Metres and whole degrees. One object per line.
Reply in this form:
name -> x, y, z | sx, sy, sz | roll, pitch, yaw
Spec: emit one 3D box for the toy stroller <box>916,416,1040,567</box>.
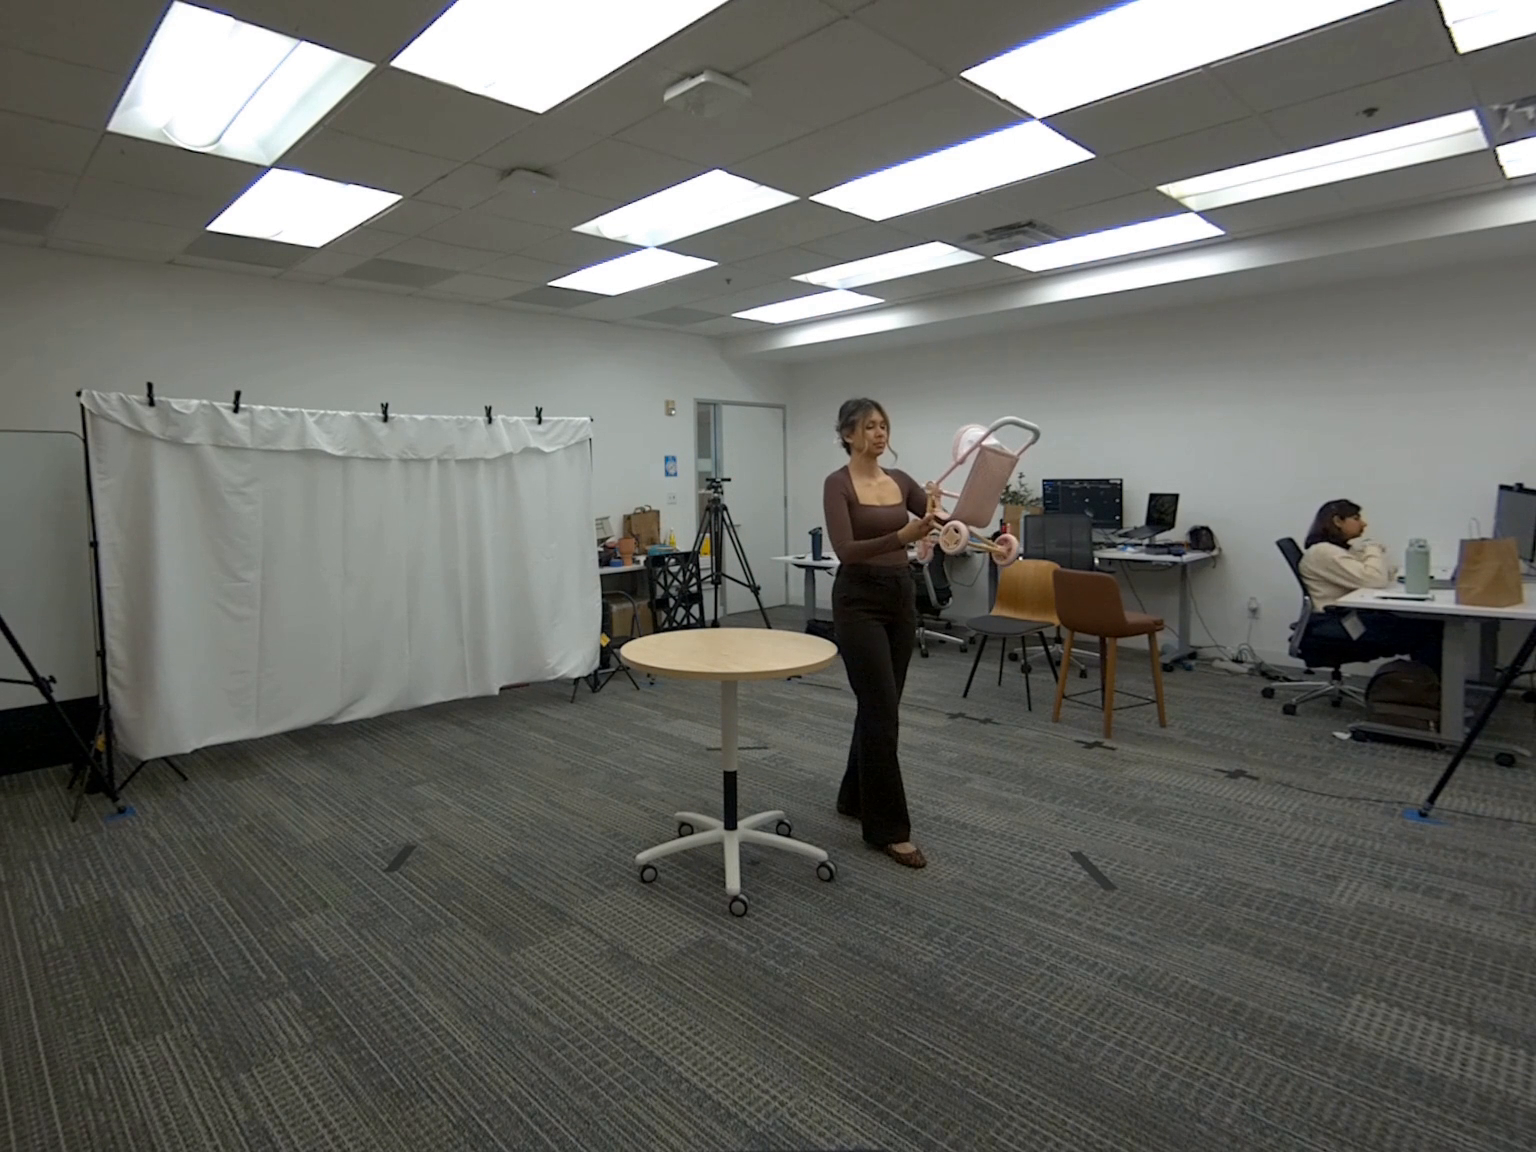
toy stroller -> 0.679, -0.276, 2.884 | 0.274, 0.533, 0.352 | 9, 6, -29
